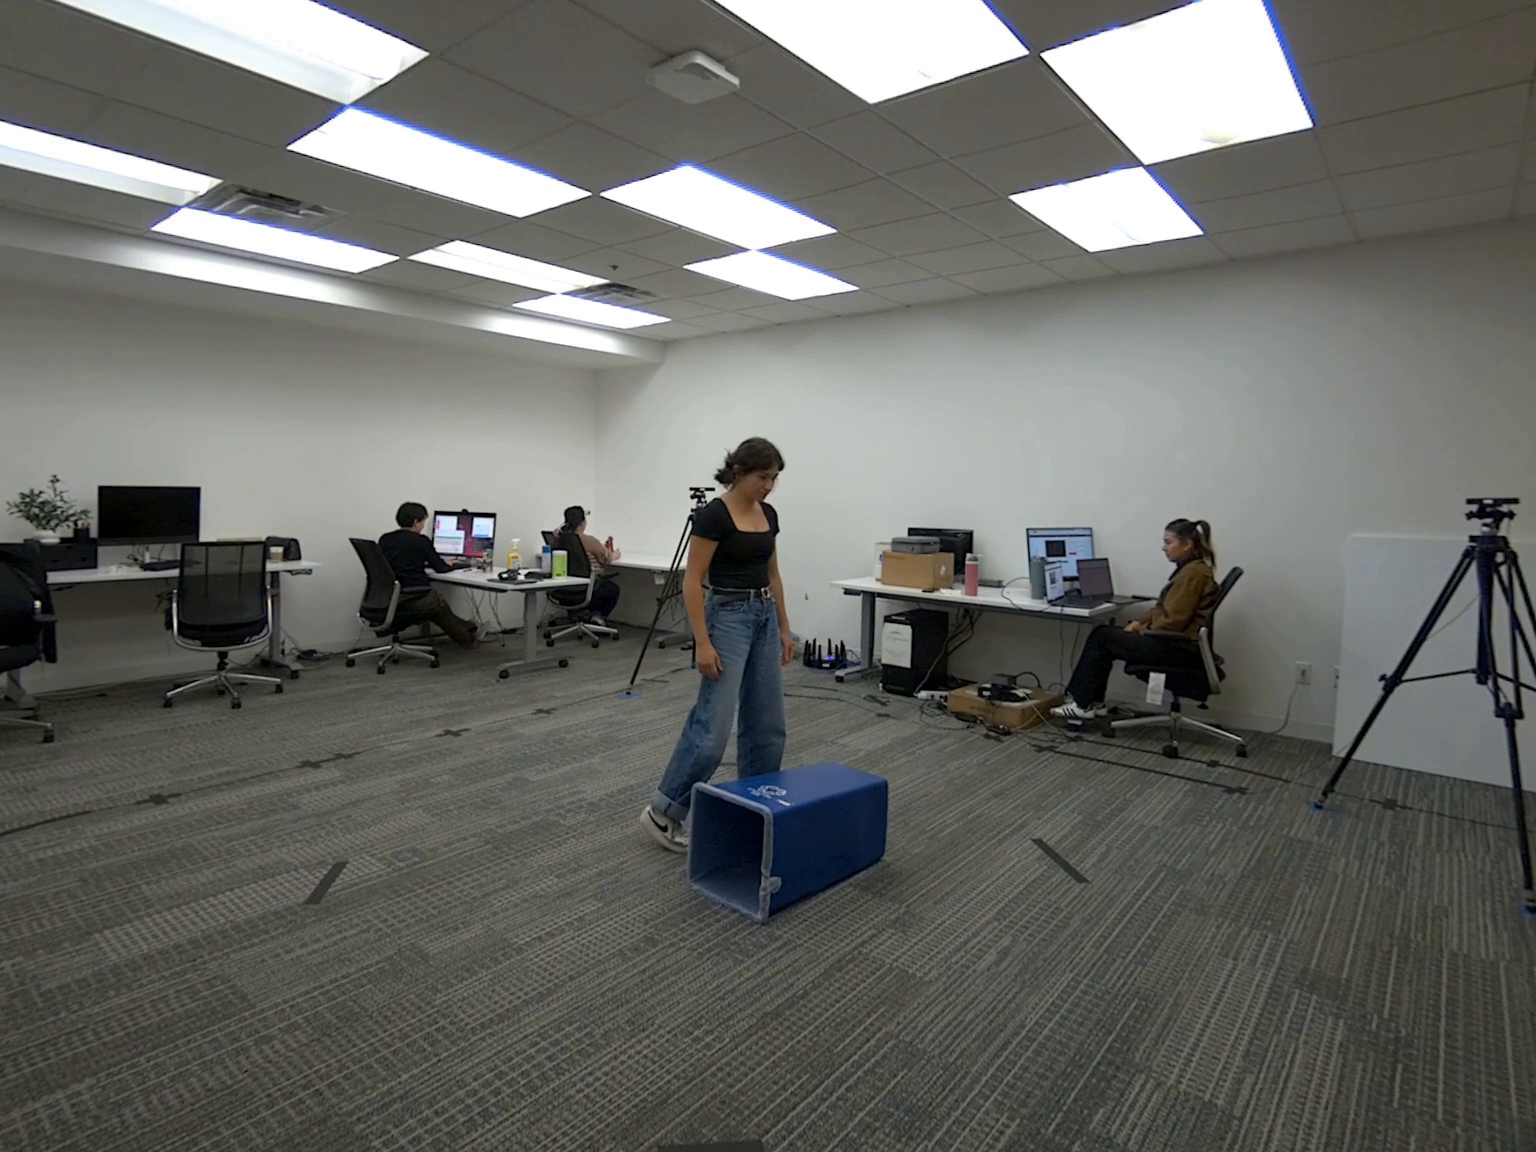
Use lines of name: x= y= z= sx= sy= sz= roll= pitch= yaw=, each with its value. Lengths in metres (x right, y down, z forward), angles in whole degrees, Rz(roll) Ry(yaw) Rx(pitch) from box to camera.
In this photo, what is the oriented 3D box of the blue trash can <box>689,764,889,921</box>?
blue trash can: x=0.097 y=0.914 z=3.069 sx=0.391 sy=0.374 sz=0.690 roll=4 pitch=2 yaw=45
